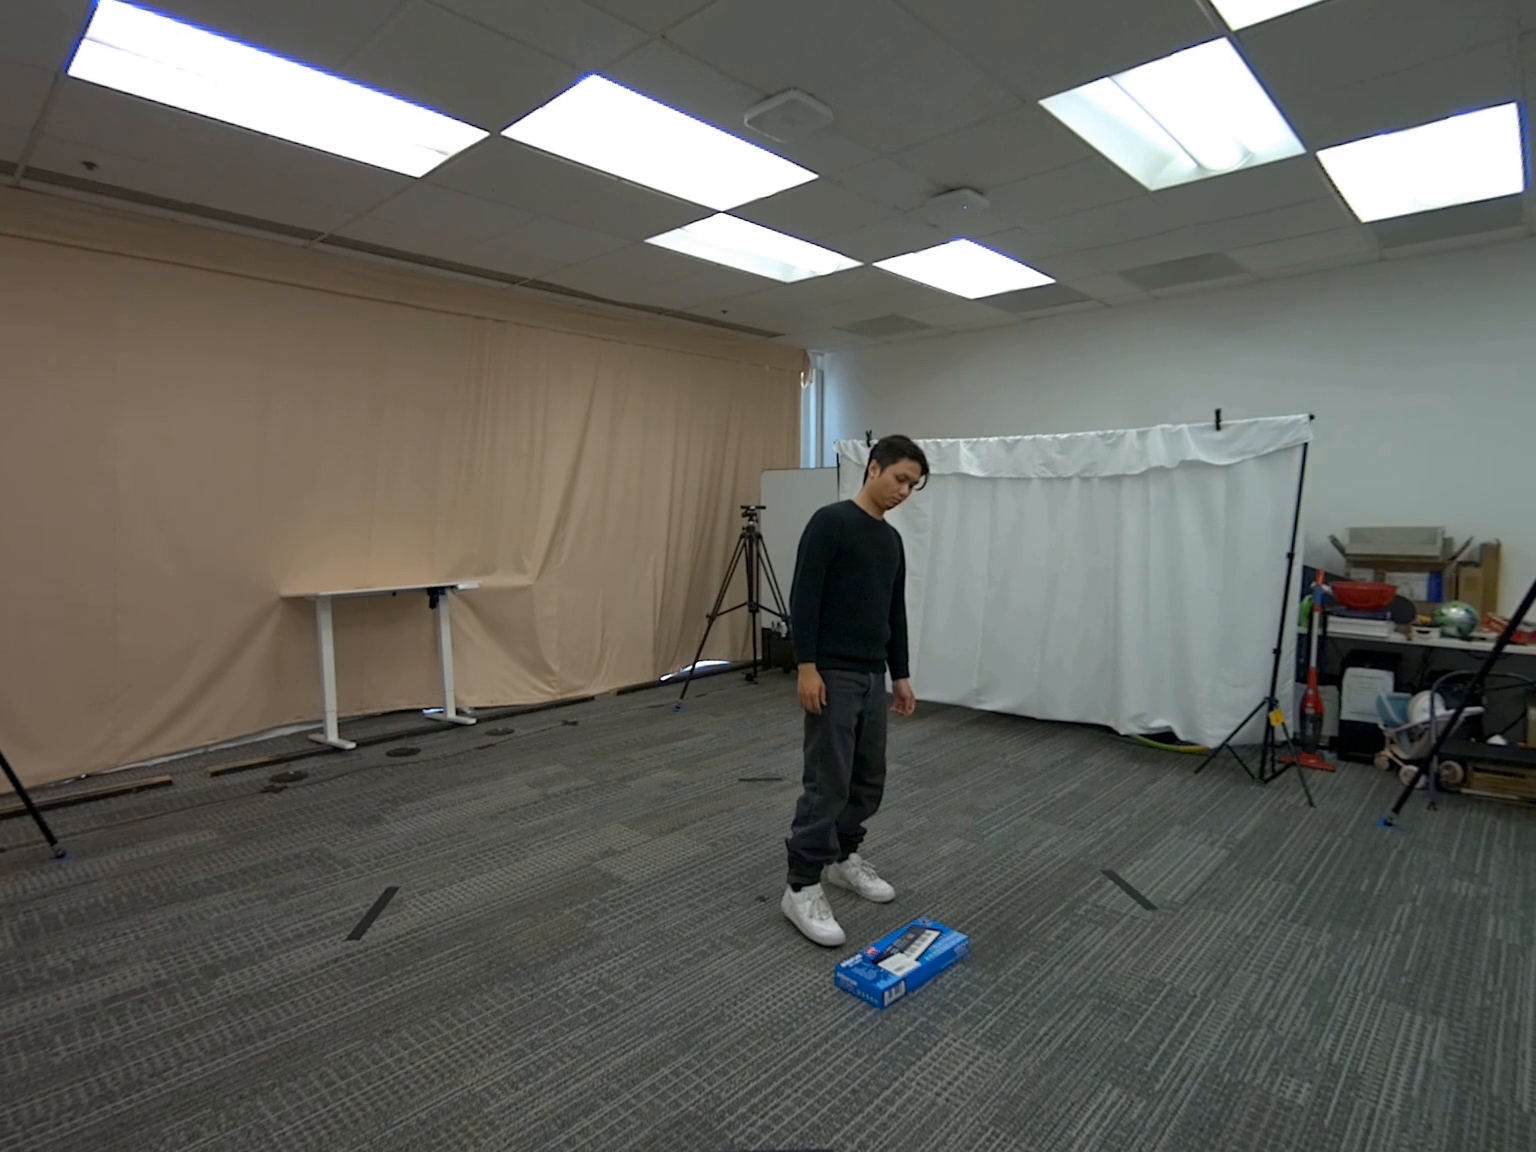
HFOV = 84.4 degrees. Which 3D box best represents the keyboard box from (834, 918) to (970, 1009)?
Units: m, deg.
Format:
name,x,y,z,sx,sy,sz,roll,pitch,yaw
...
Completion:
name,x,y,z,sx,sy,sz,roll,pitch,yaw
keyboard box,0.417,1.150,2.524,0.423,0.059,0.182,-5,7,-43
